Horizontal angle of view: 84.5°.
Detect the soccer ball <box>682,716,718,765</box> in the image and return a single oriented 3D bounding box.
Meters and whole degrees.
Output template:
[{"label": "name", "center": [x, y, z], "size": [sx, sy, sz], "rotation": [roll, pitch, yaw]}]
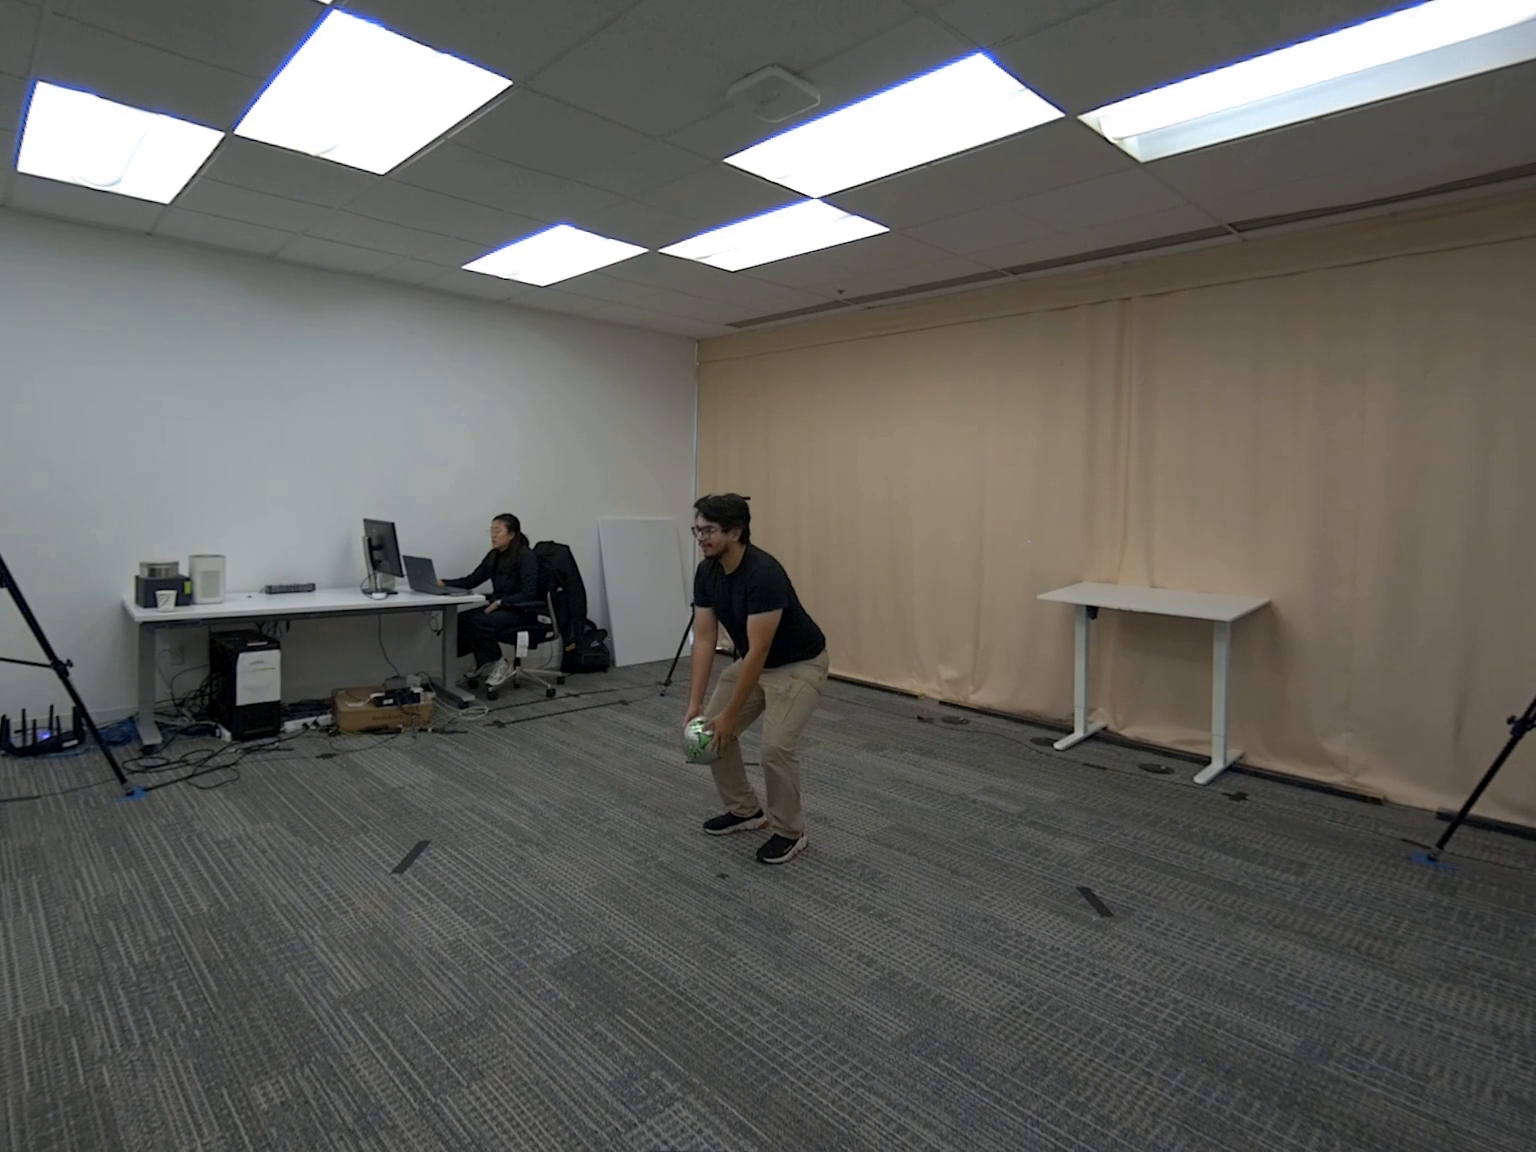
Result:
[{"label": "soccer ball", "center": [-0.250, 0.631, 3.244], "size": [0.187, 0.187, 0.188], "rotation": [1, 4, -1]}]
